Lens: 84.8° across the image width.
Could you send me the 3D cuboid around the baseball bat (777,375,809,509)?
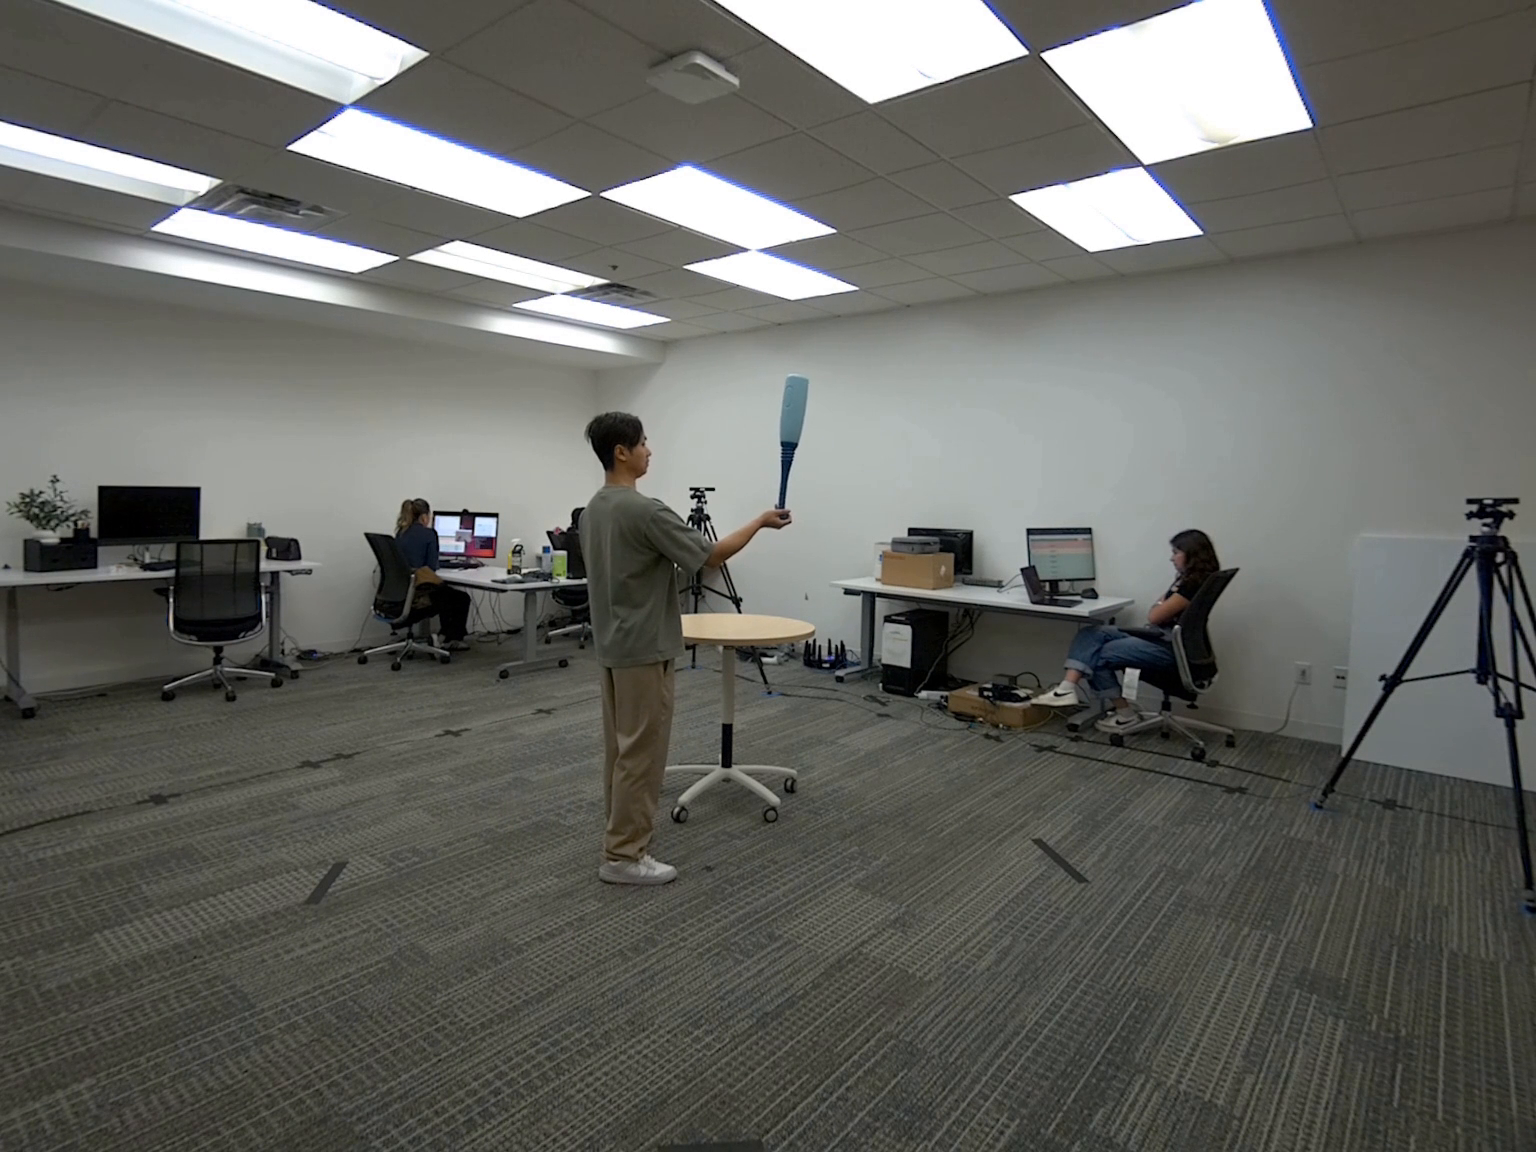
[{"bbox_3d":[0.067,-0.481,3.159,0.089,0.542,0.089,6,2,-2],"label":"baseball bat"}]
